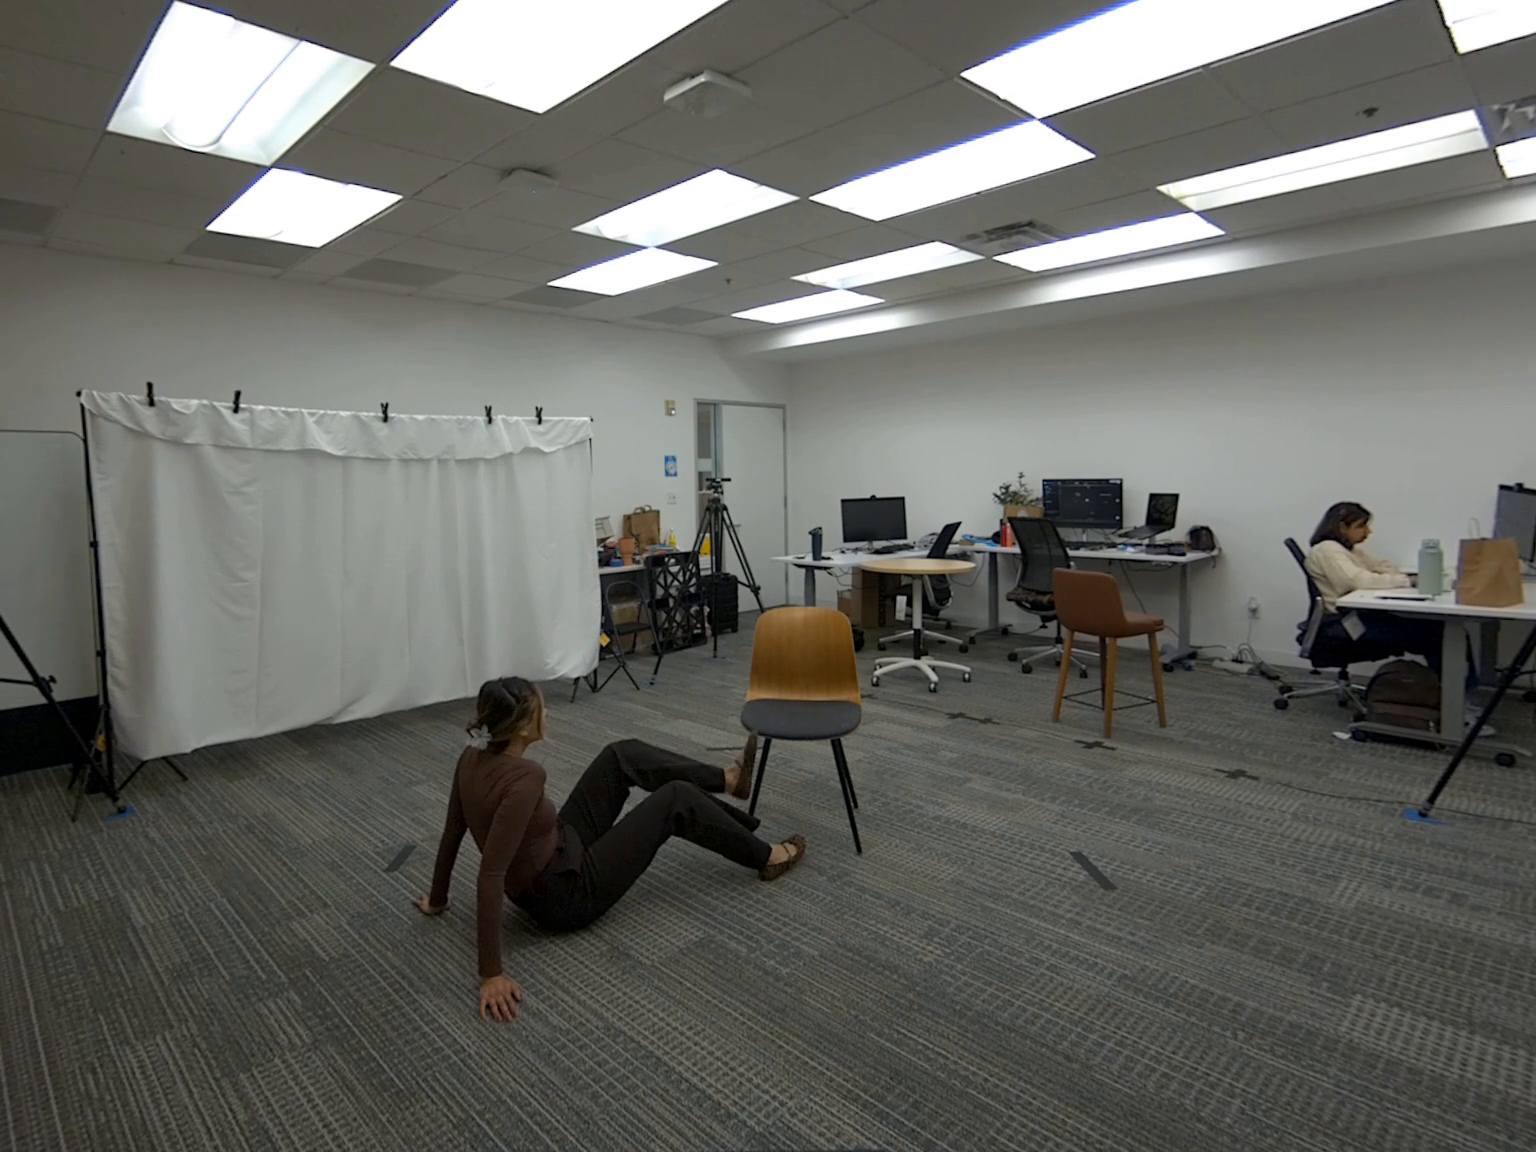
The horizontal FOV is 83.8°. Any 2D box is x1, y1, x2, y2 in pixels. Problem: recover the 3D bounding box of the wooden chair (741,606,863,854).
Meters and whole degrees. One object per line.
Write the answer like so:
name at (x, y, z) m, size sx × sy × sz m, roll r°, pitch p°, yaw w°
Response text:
wooden chair at (0.140, 0.578, 3.379) m, size 0.481 × 0.877 × 0.520 m, roll 0°, pitch 0°, yaw 6°
